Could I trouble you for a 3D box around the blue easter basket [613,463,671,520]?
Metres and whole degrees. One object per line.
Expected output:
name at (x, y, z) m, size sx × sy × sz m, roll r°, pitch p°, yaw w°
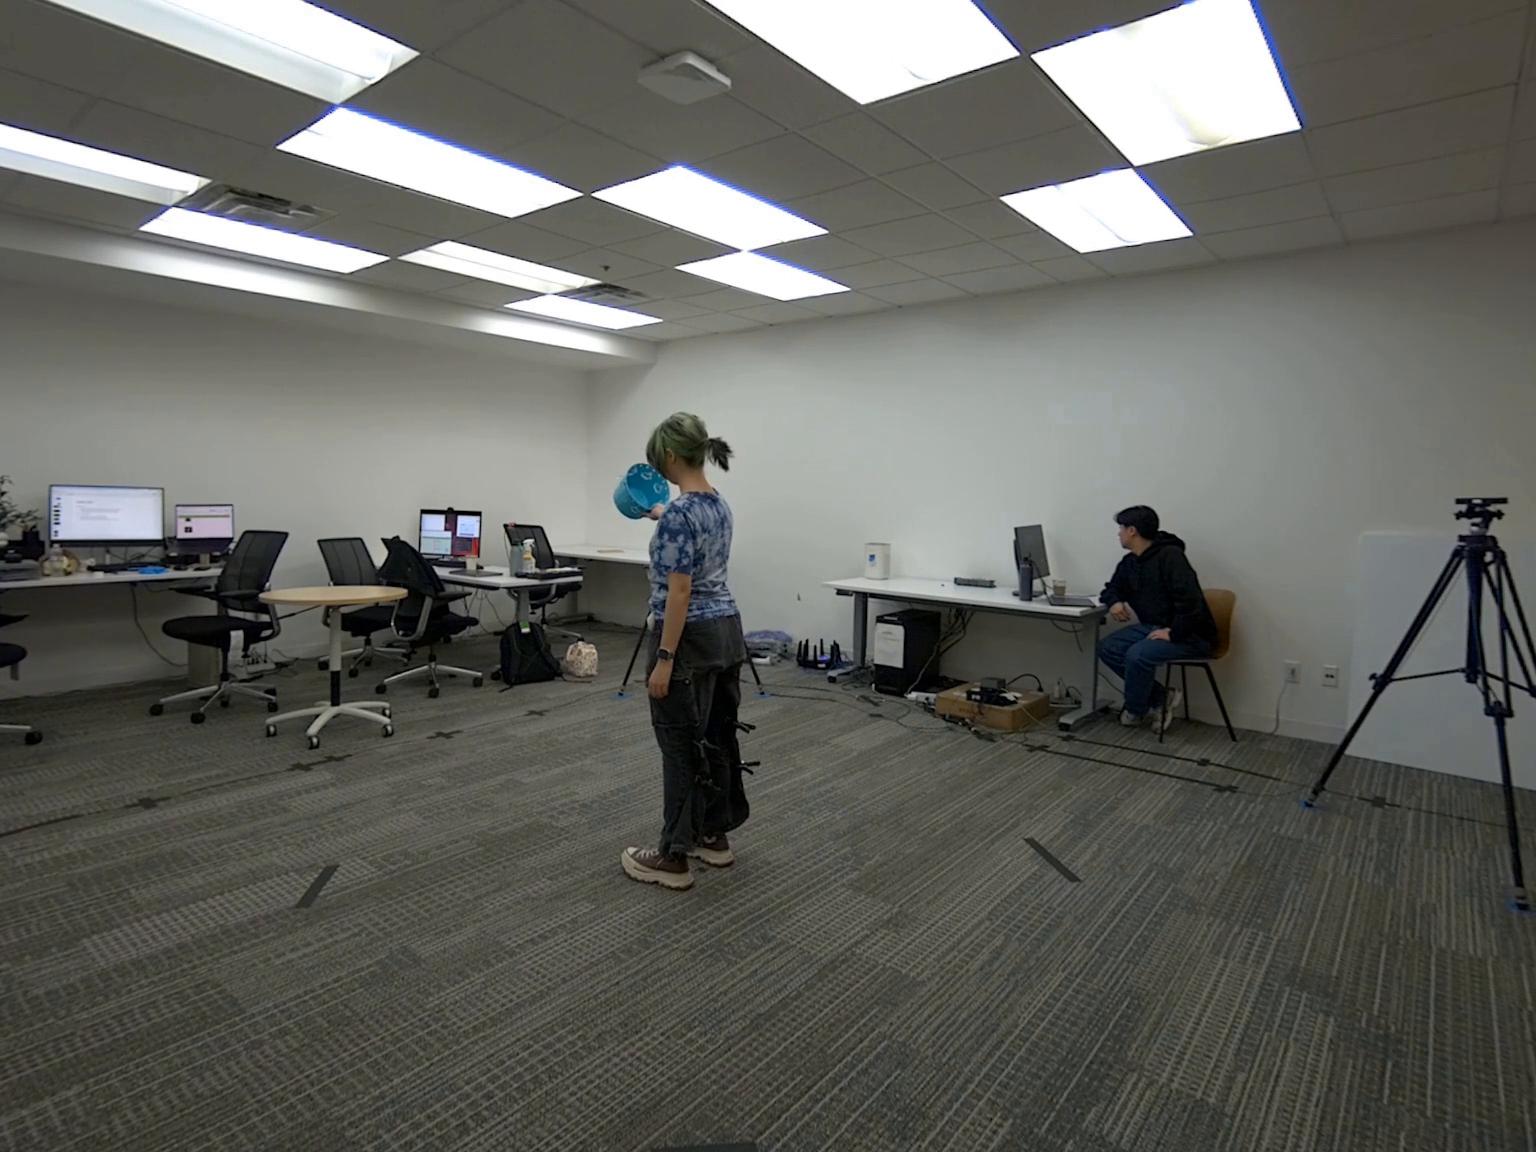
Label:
blue easter basket at (-0.583, -0.359, 3.792) m, size 0.236 × 0.249 × 0.157 m, roll -3°, pitch -23°, yaw -40°
